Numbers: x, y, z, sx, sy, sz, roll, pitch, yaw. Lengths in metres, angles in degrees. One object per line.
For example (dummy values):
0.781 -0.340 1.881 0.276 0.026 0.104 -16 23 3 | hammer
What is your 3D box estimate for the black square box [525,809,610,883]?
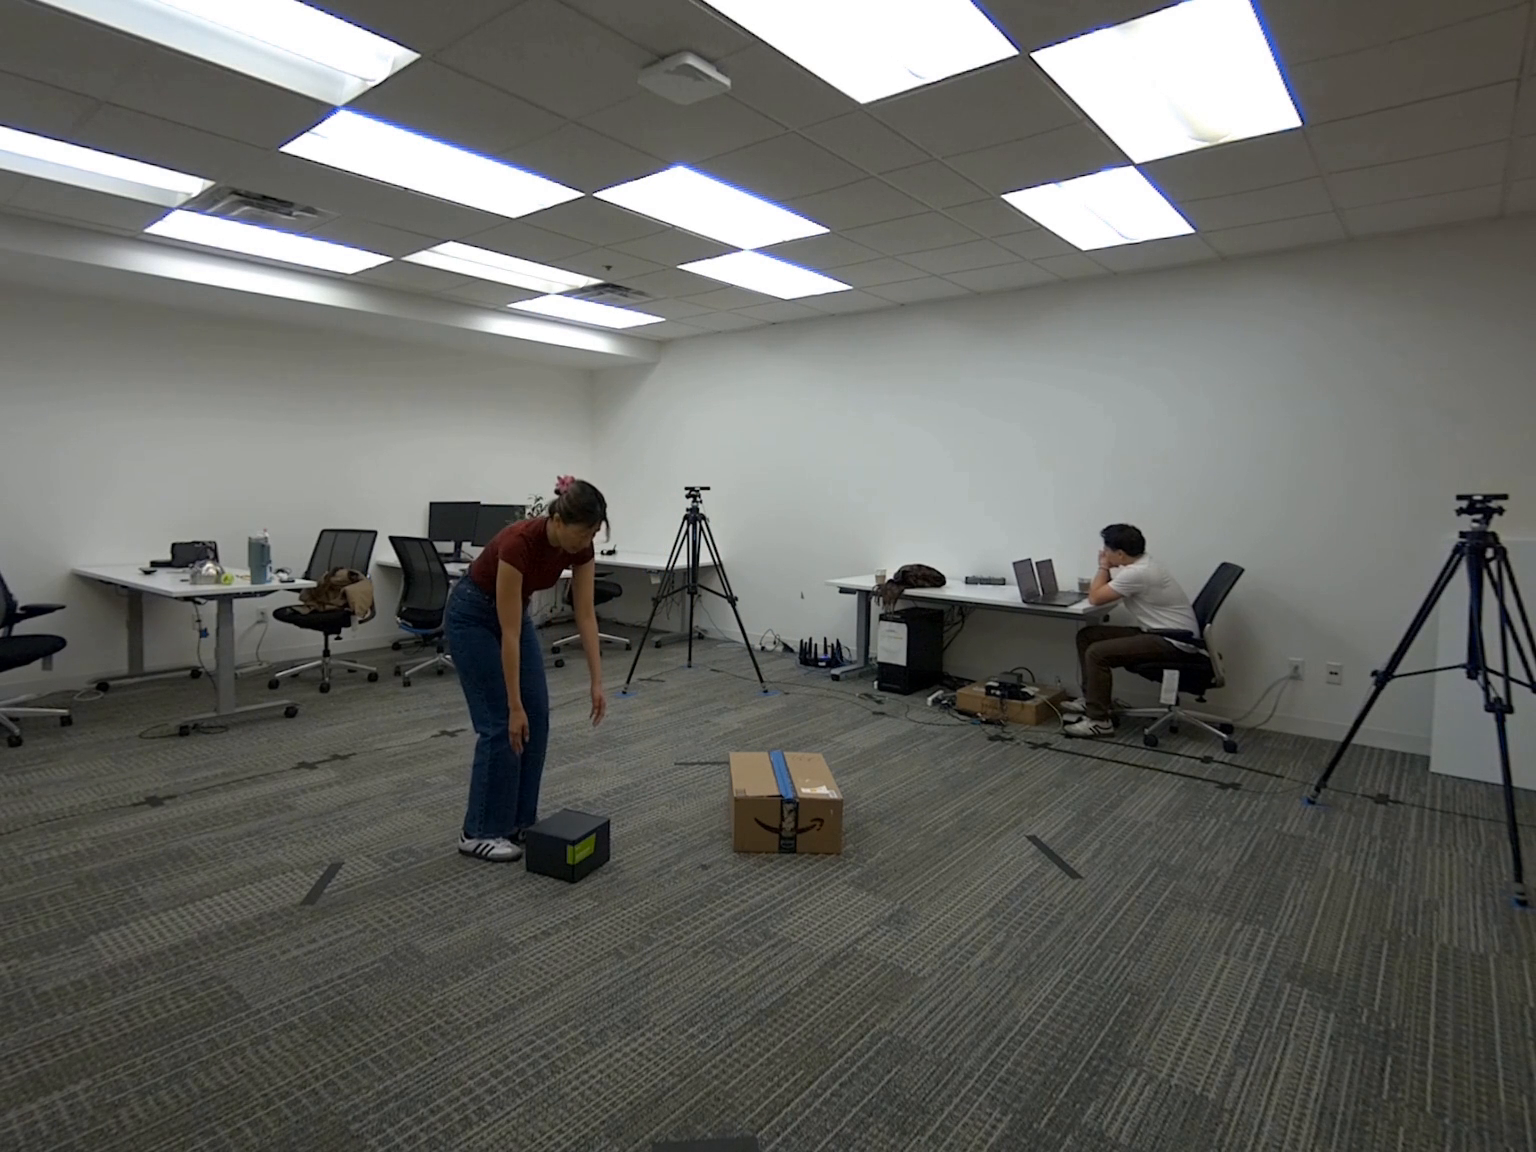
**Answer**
-0.738 0.974 3.103 0.222 0.155 0.223 3 5 25 | black square box
